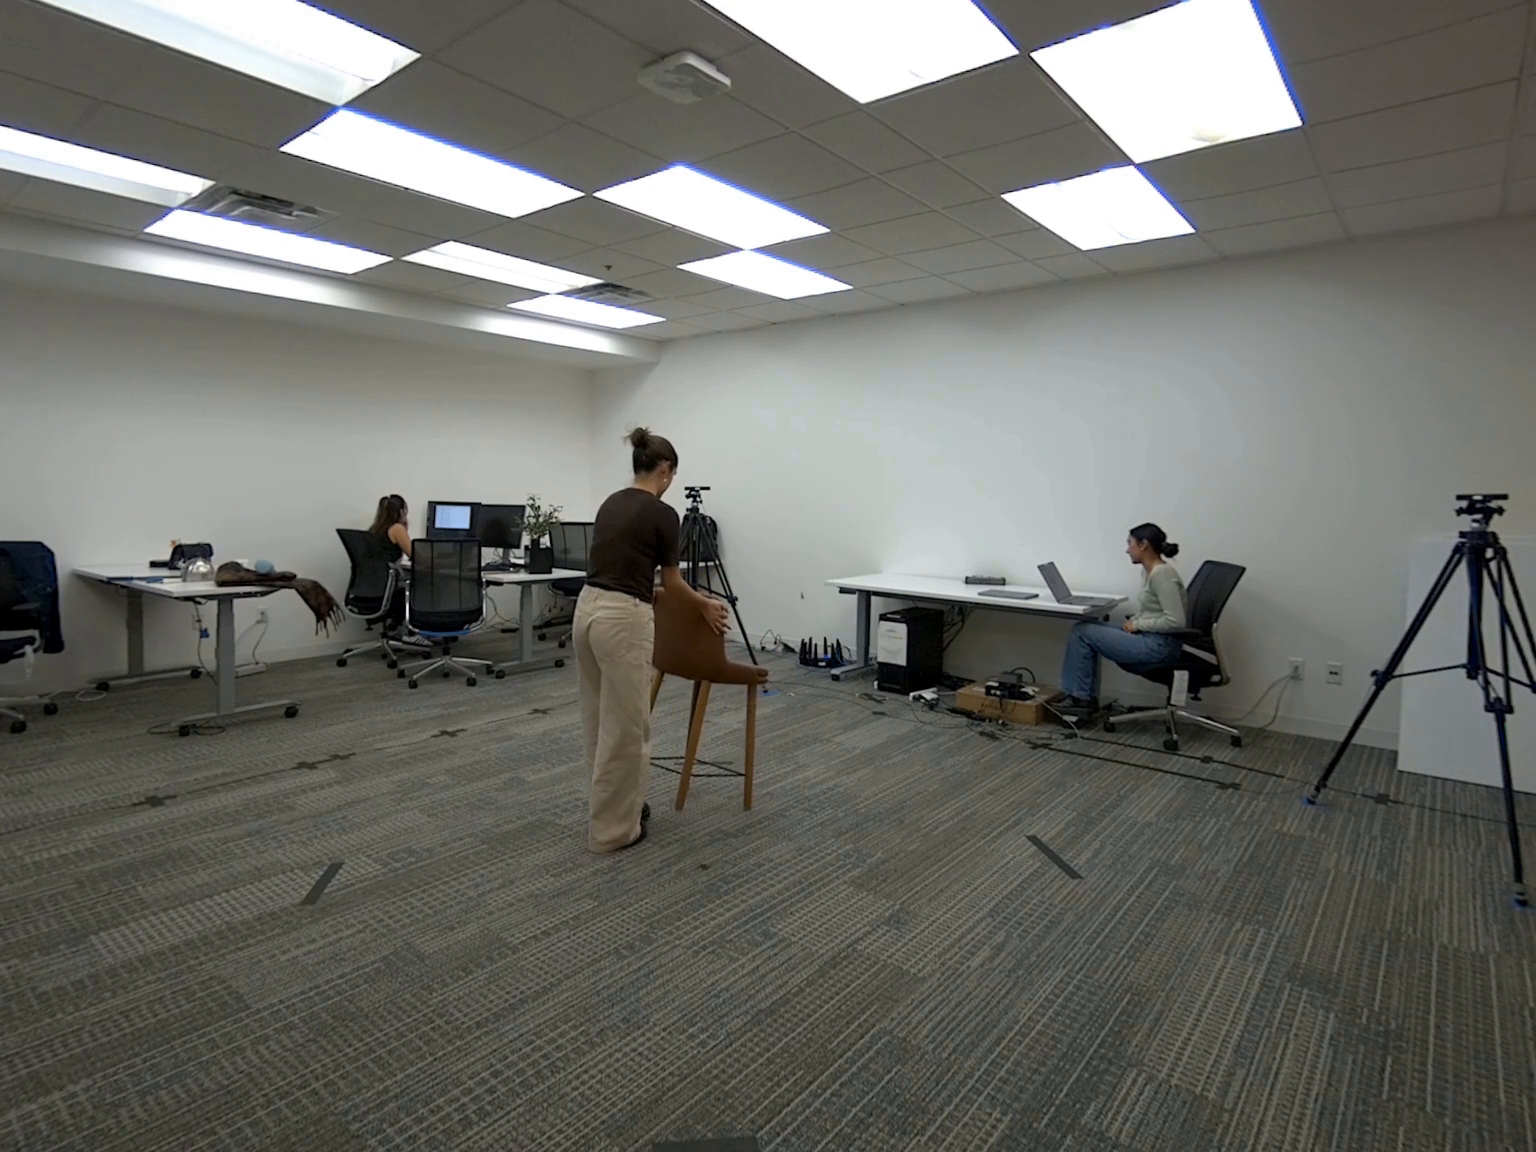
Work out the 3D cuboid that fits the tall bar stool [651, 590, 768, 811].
[{"bbox_3d":[-0.310,0.527,3.713,0.471,0.894,0.450,3,-7,41],"label":"tall bar stool"}]
